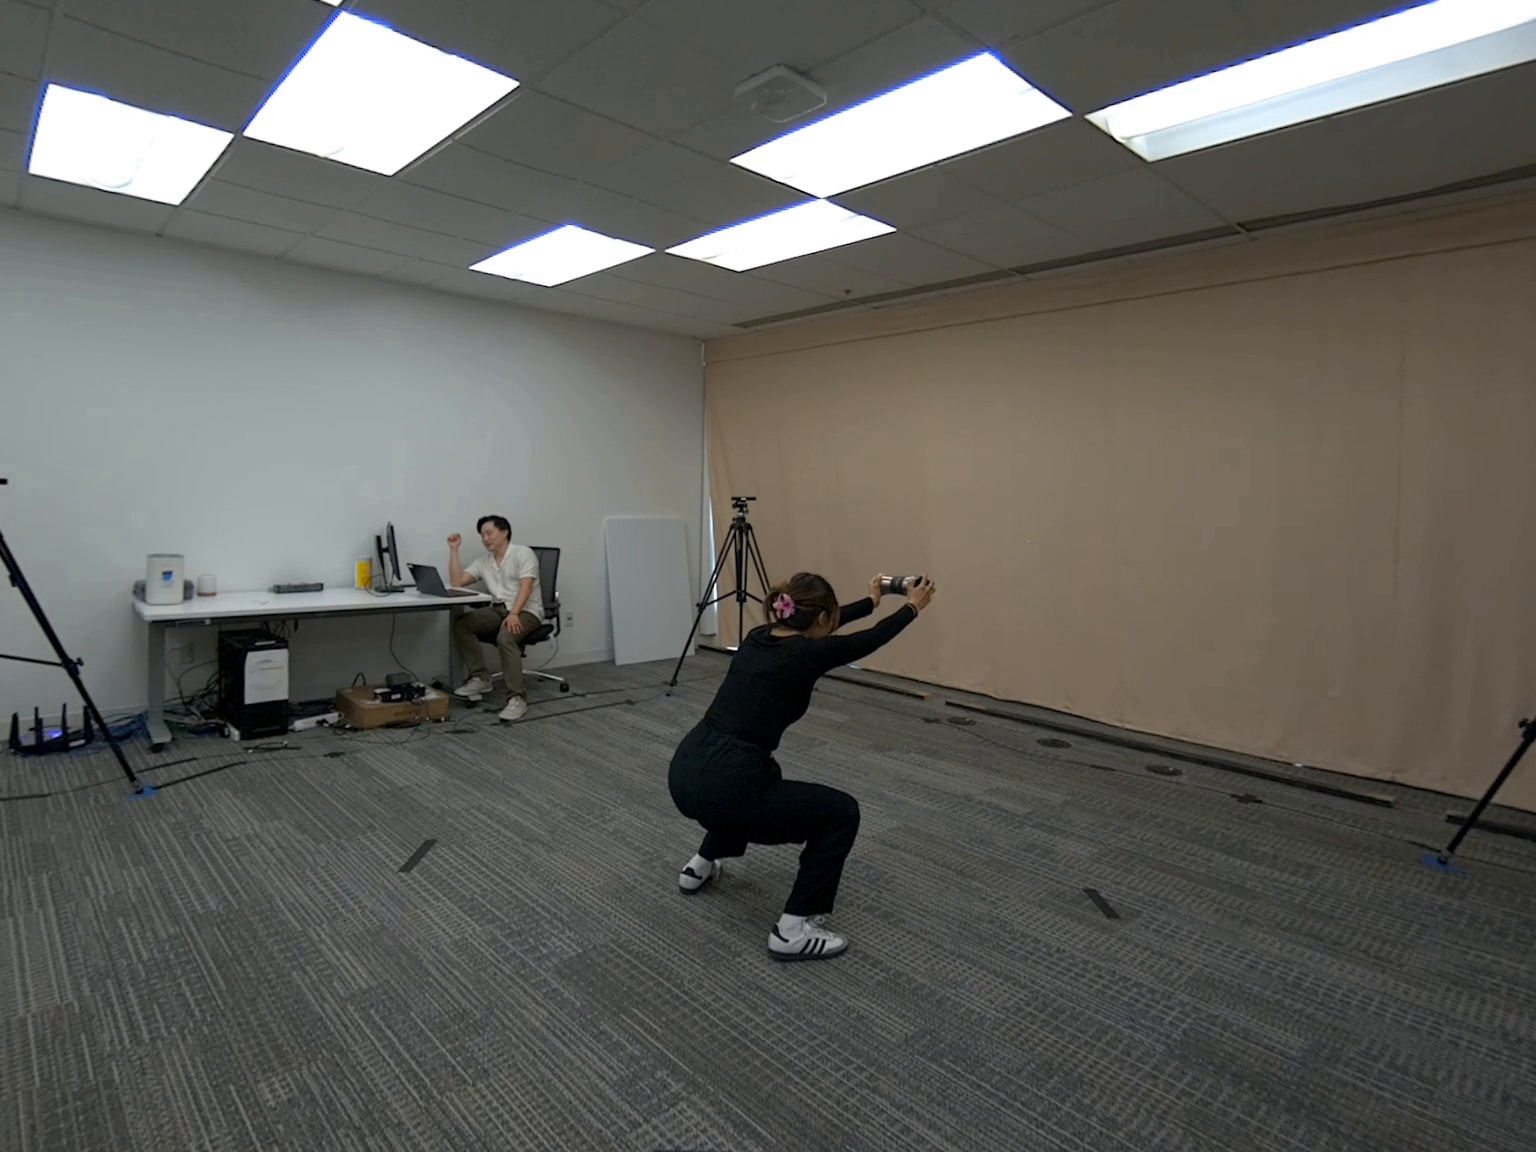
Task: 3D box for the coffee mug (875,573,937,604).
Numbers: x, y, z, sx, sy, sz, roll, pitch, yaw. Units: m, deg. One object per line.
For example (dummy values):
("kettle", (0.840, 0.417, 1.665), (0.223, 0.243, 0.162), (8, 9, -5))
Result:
("coffee mug", (0.524, 0.046, 3.255), (0.119, 0.088, 0.208), (7, -1, -36))
